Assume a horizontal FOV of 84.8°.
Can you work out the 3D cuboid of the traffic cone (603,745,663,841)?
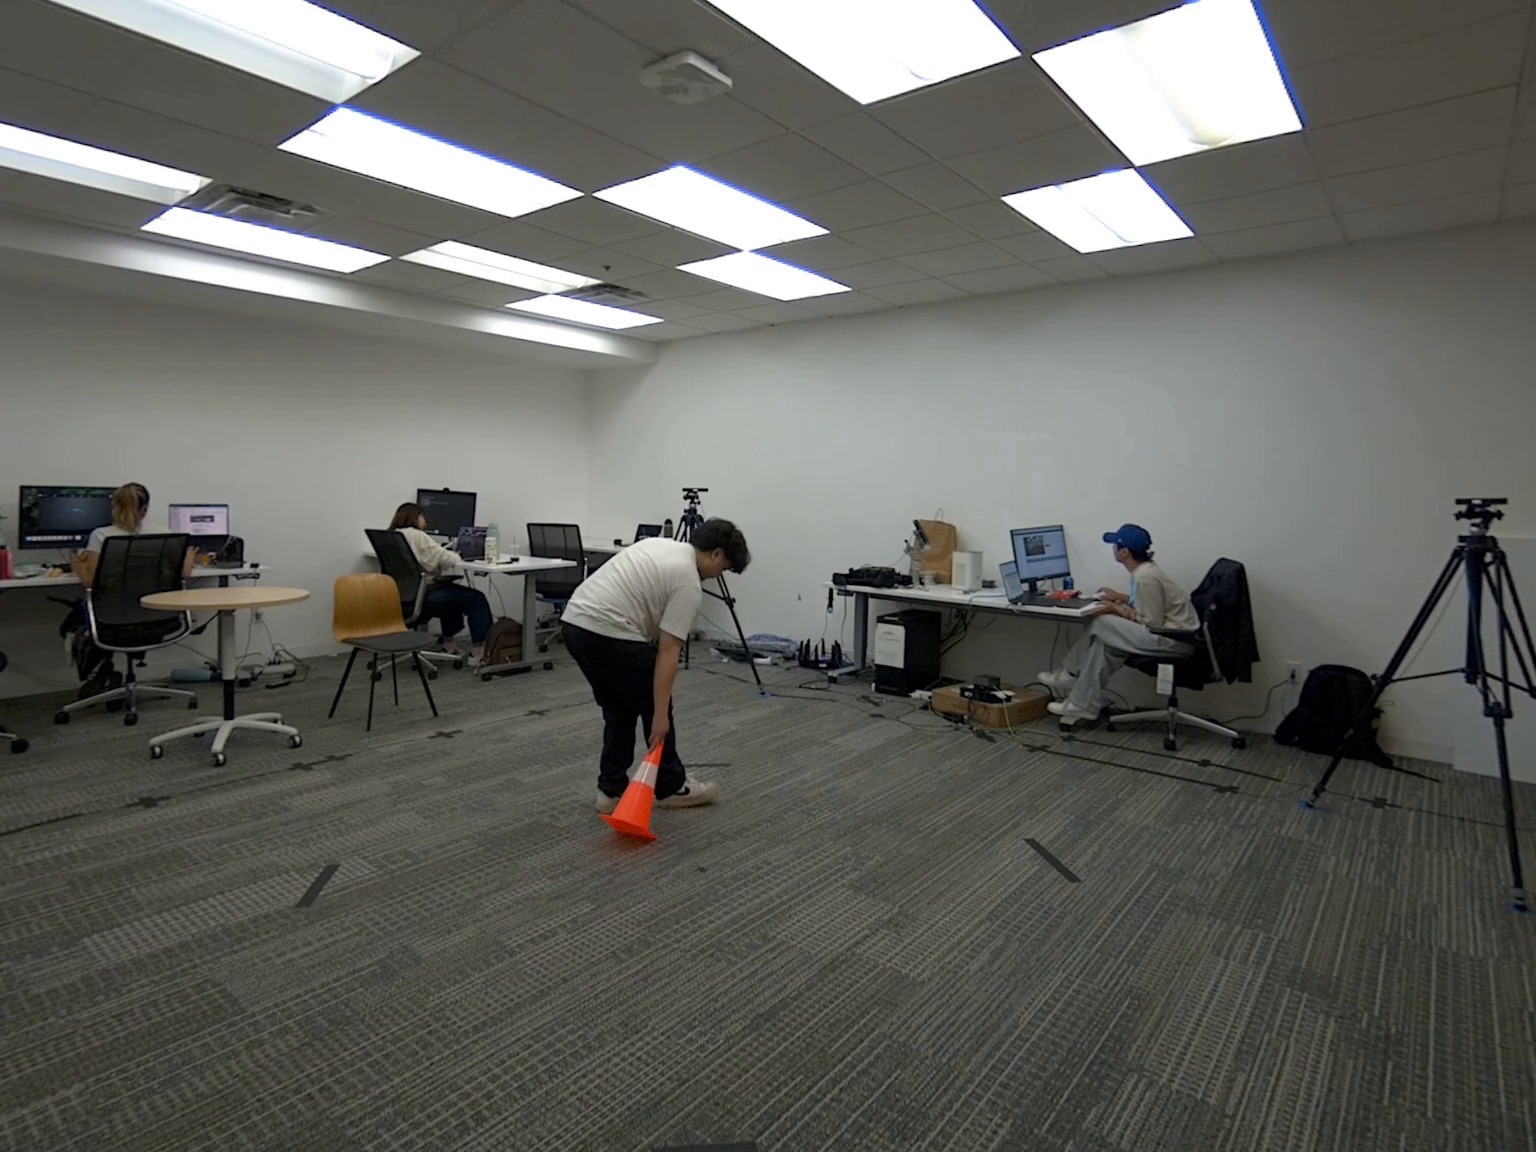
[{"bbox_3d":[-0.513,0.829,3.435,0.209,0.389,0.196,8,-30,18],"label":"traffic cone"}]
